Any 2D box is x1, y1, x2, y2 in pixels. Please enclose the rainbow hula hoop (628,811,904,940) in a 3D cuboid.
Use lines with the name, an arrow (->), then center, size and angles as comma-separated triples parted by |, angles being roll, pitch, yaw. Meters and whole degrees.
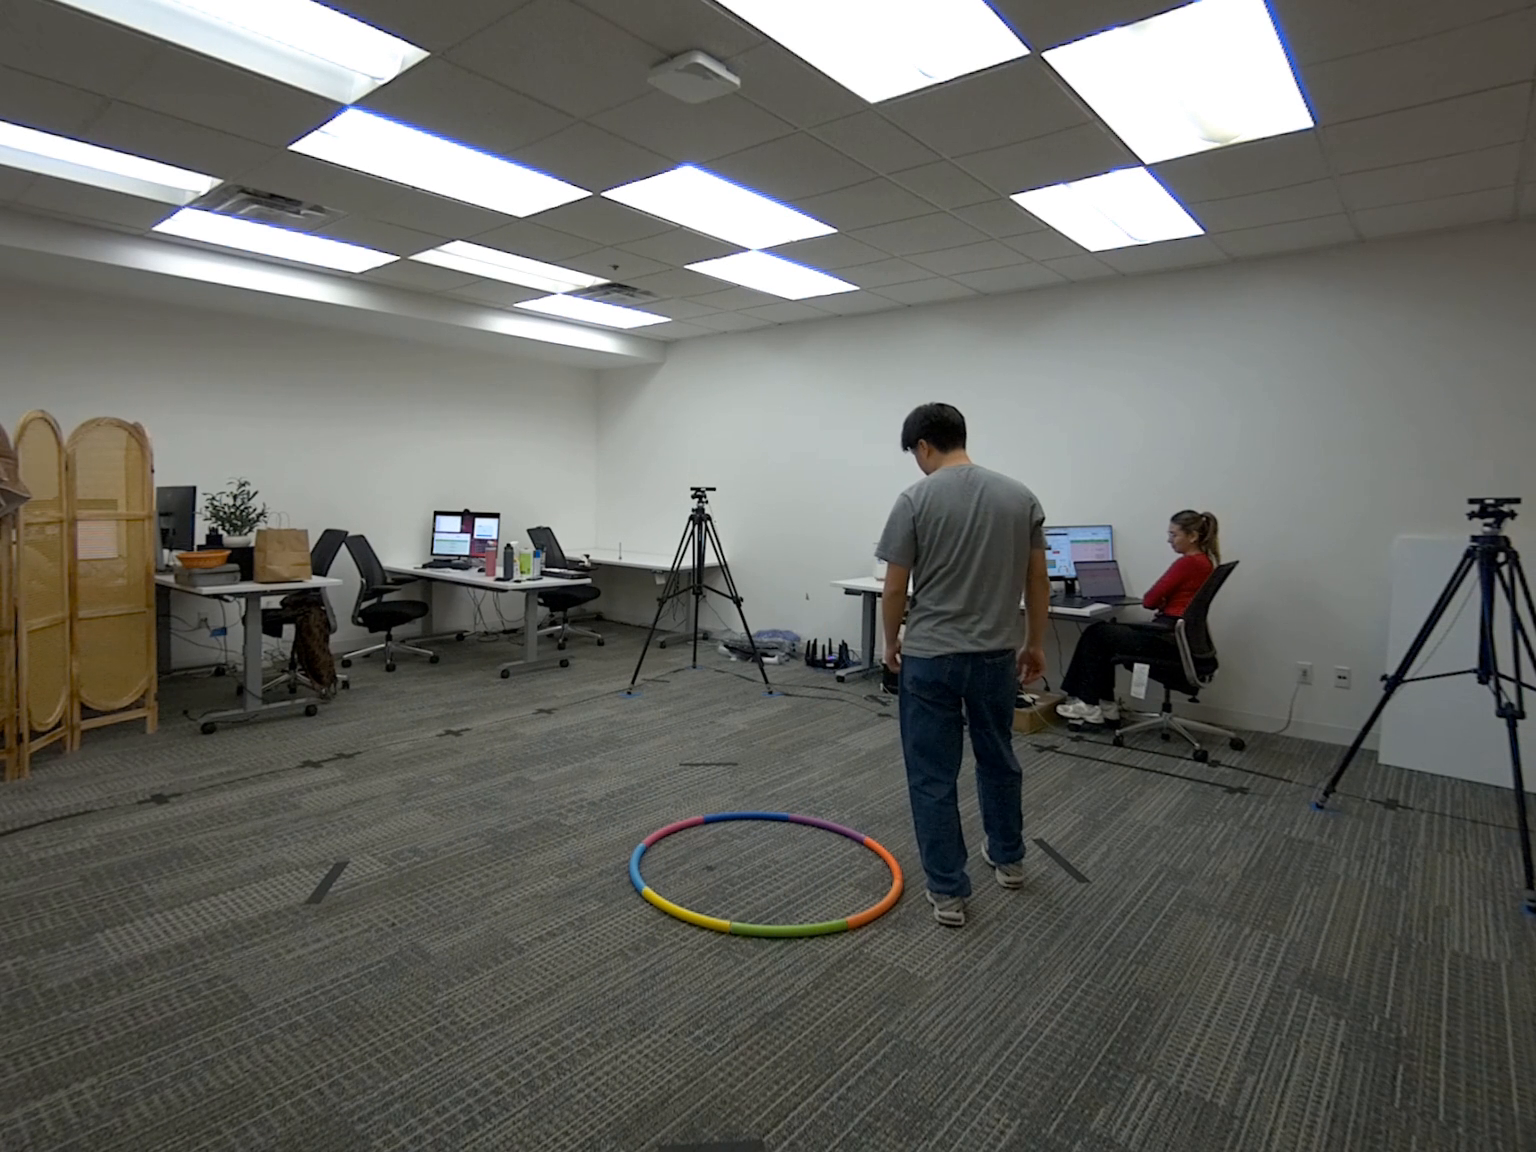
rainbow hula hoop -> -0.017, 1.038, 3.103 | 0.978, 0.035, 0.984 | 1, 6, -2
